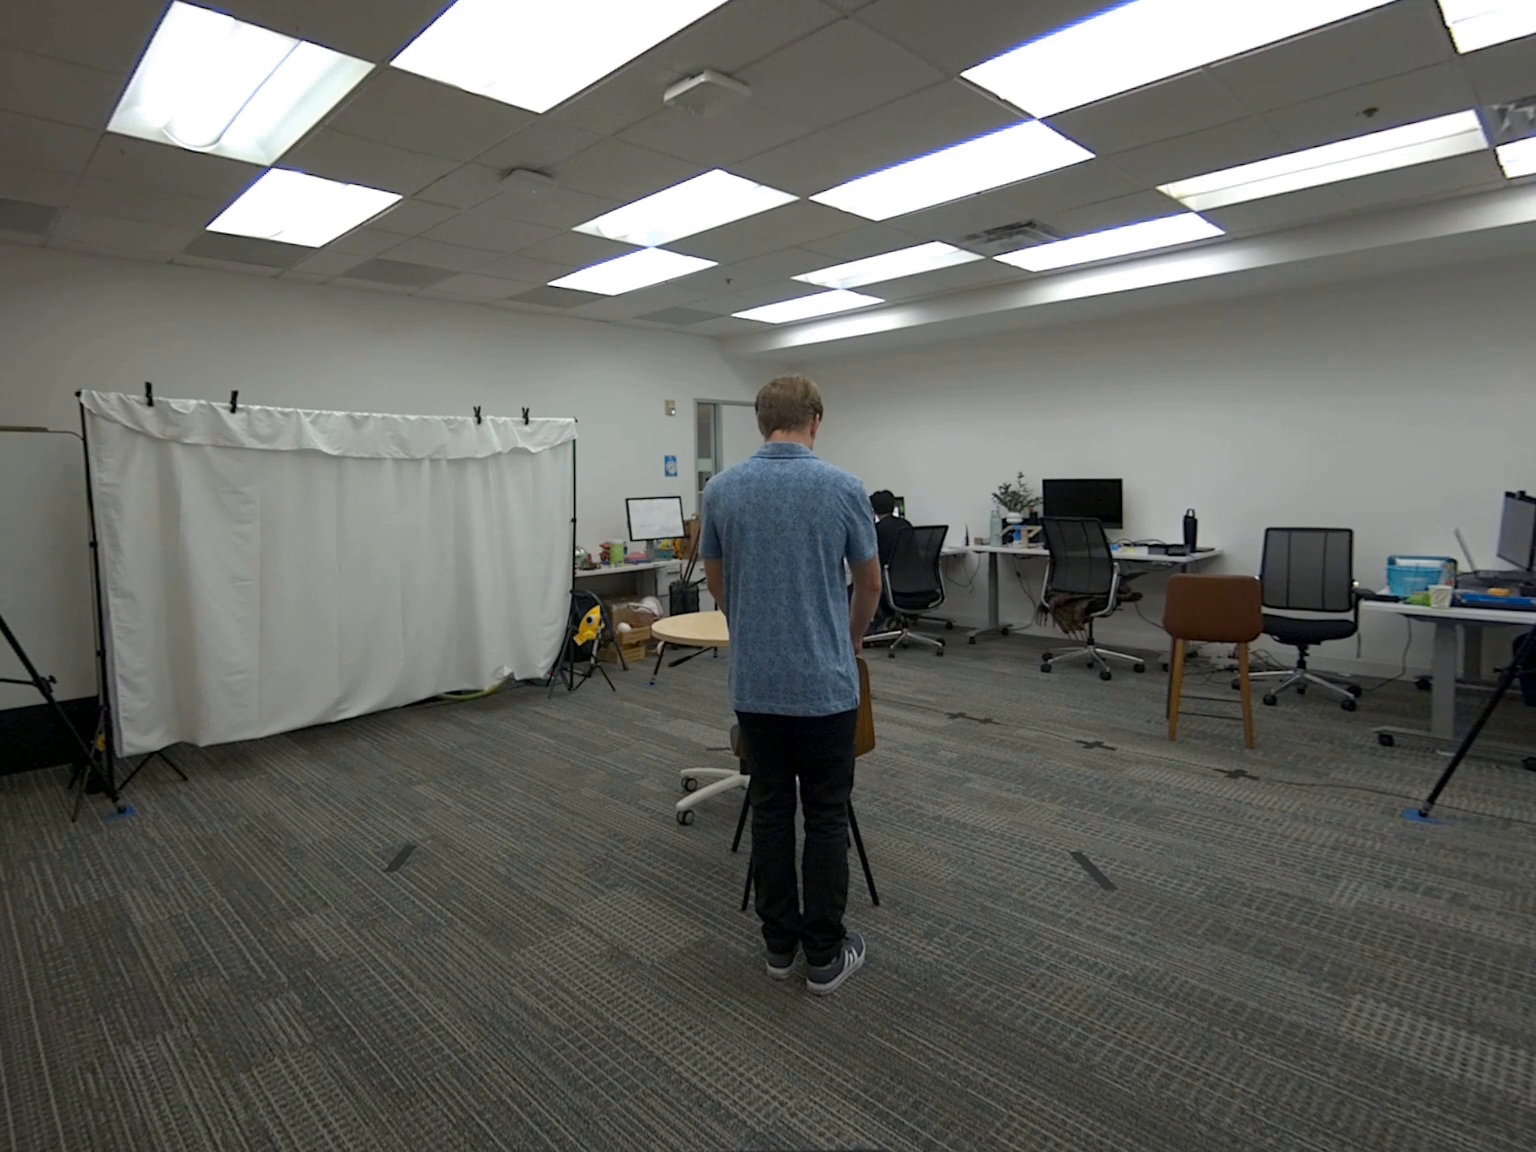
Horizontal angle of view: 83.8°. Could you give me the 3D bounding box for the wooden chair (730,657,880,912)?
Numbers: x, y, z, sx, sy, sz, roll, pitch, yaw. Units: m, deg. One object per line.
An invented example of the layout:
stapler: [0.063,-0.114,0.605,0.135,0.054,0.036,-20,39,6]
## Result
wooden chair: [0.109,0.626,2.969,0.476,0.870,0.530,-2,9,-6]
